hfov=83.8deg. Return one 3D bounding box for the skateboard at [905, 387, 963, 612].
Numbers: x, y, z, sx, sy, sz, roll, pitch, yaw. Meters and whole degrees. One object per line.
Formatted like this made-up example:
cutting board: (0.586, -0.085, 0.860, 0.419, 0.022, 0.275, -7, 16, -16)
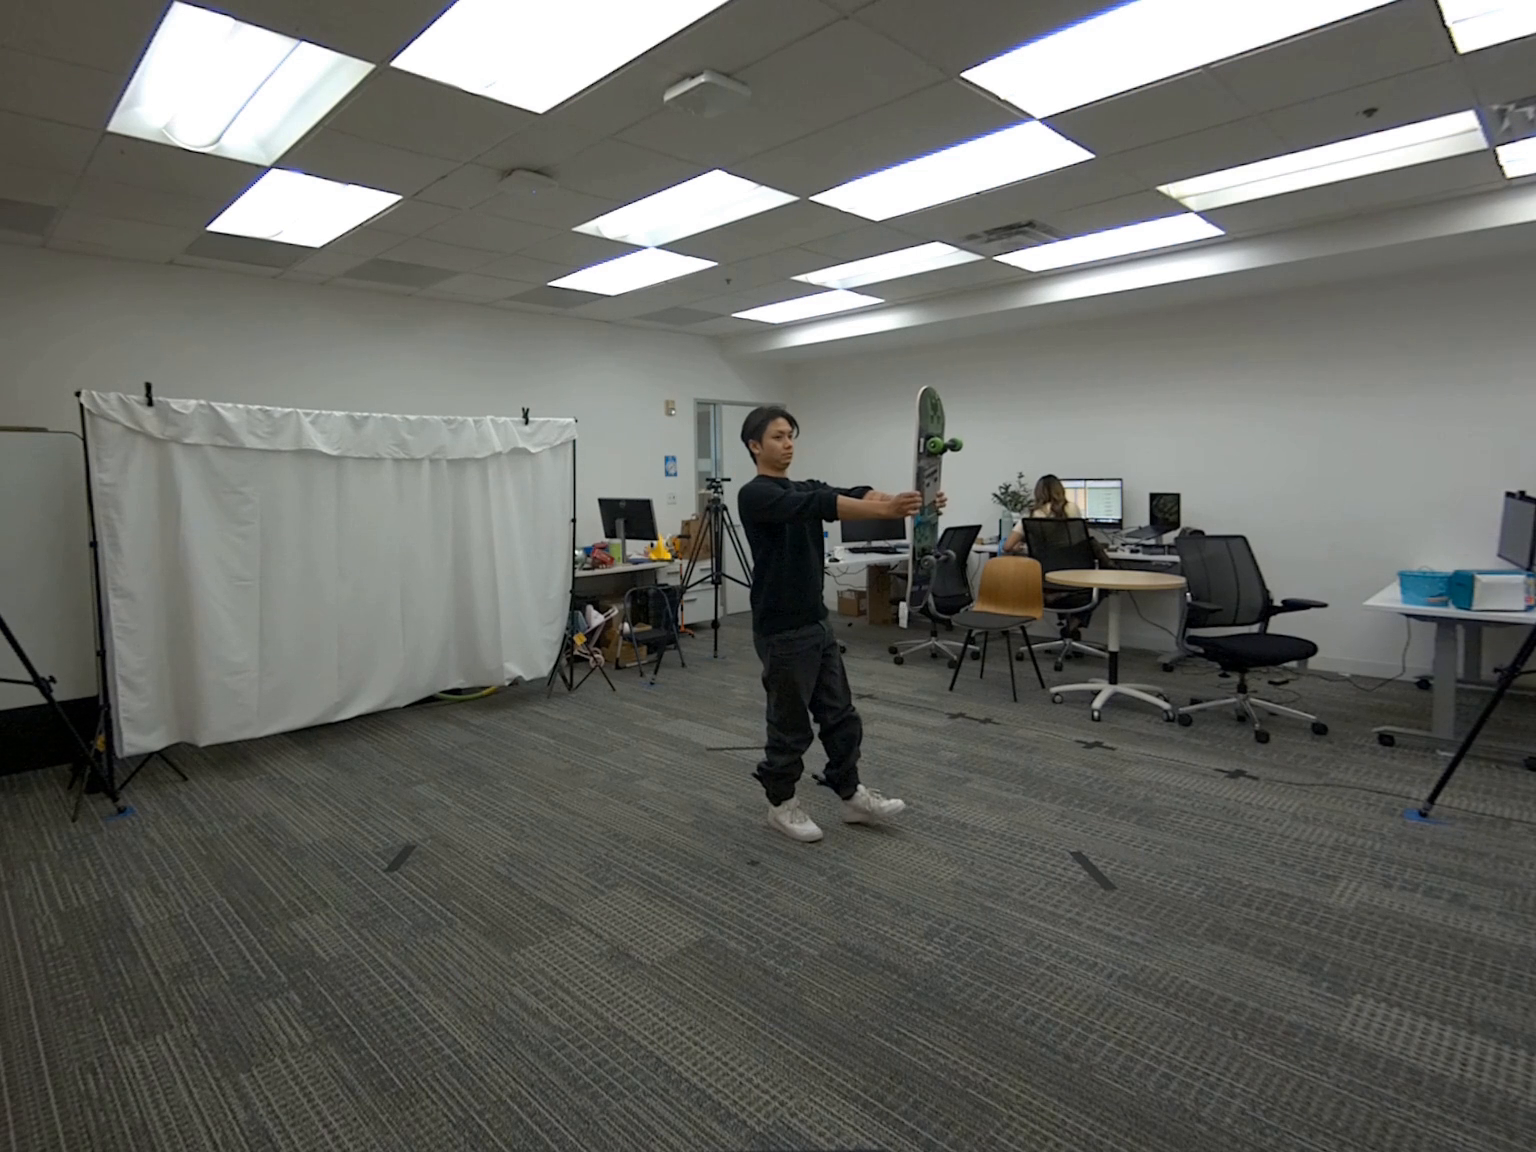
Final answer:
skateboard: (0.571, -0.252, 2.955, 0.114, 0.779, 0.189, 9, 11, 38)
